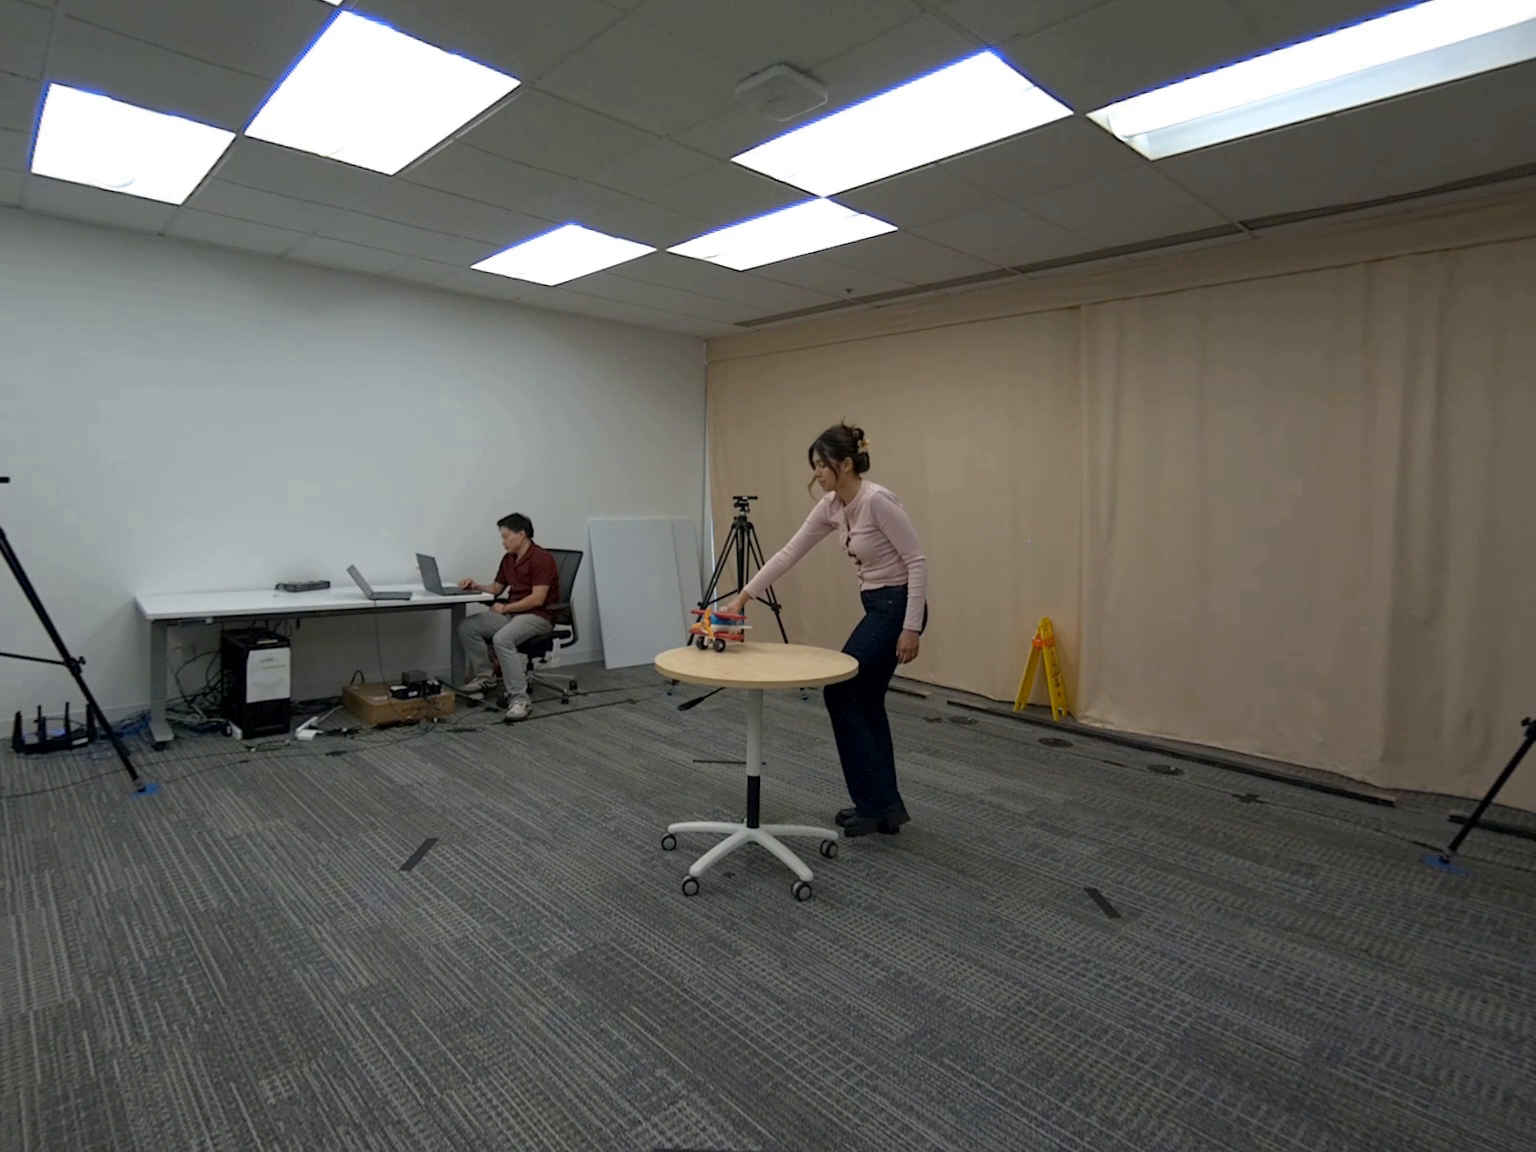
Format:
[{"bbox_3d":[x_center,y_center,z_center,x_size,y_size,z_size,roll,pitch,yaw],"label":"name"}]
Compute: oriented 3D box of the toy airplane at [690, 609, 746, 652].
[{"bbox_3d":[-0.200,0.208,3.419,0.253,0.155,0.259,-1,11,7],"label":"toy airplane"}]
